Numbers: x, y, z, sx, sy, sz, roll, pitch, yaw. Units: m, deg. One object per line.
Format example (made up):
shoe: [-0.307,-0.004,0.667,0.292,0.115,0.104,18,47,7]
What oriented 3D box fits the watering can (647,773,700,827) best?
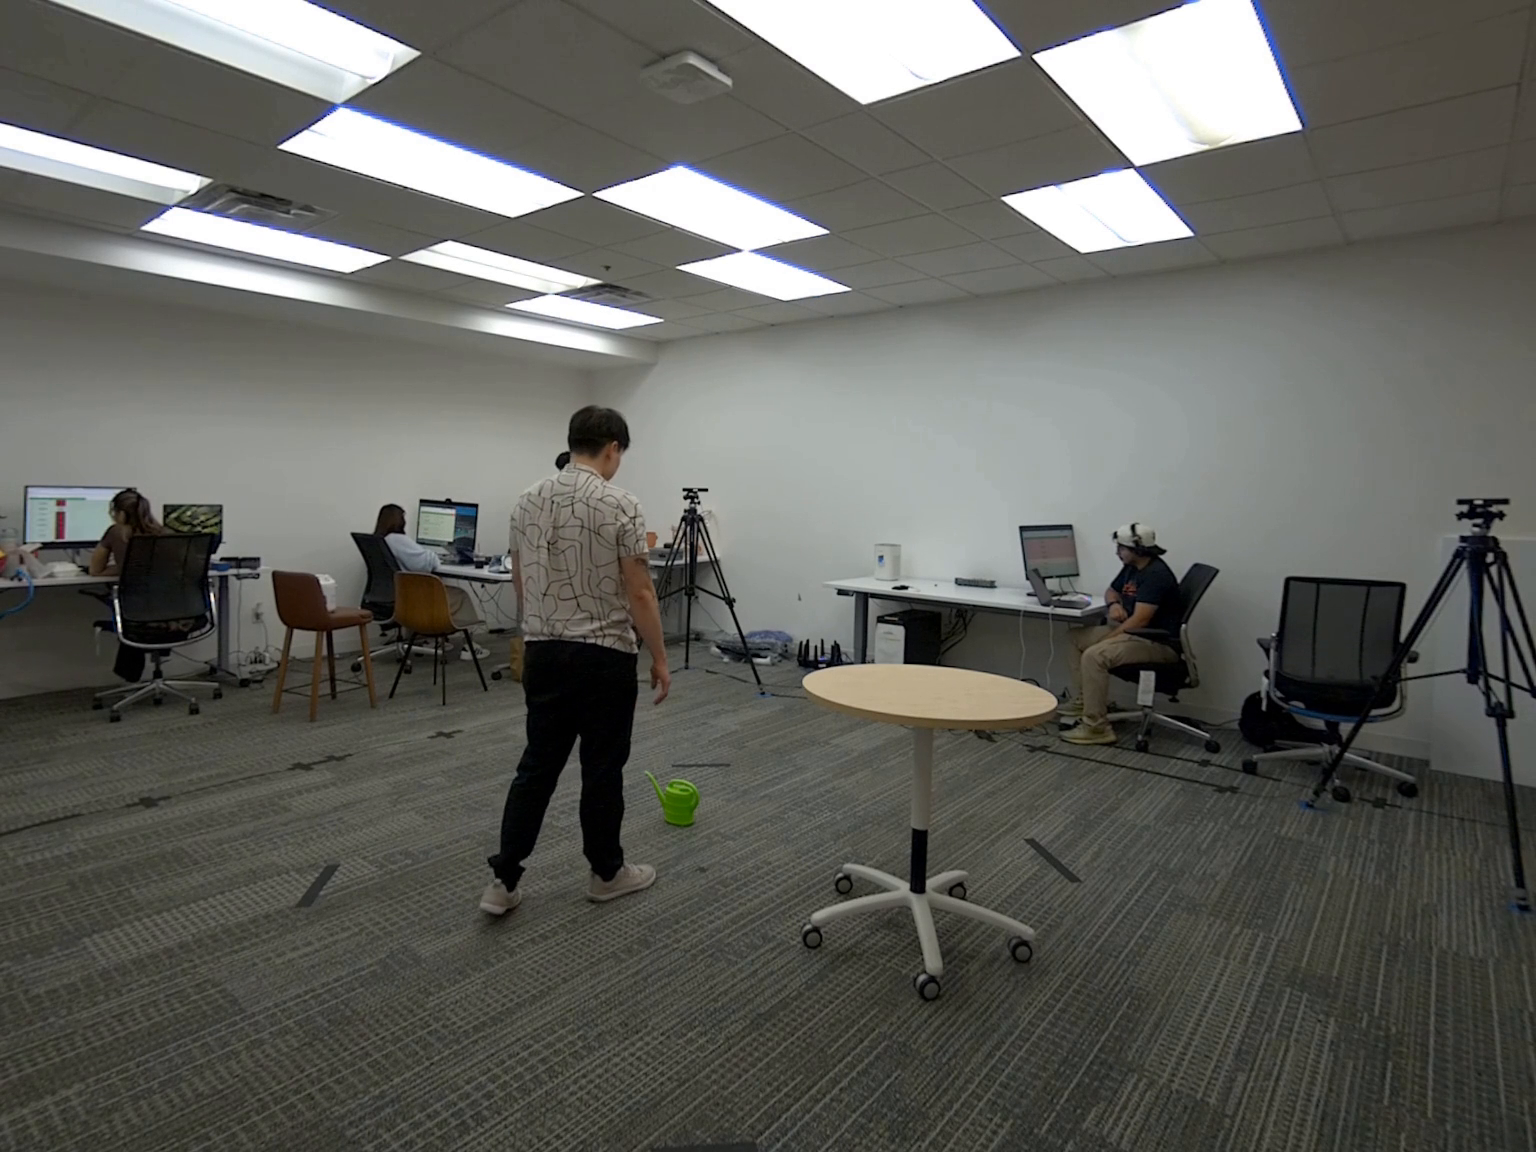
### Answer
watering can: [-0.415,0.925,3.582,0.288,0.176,0.095,7,8,42]
